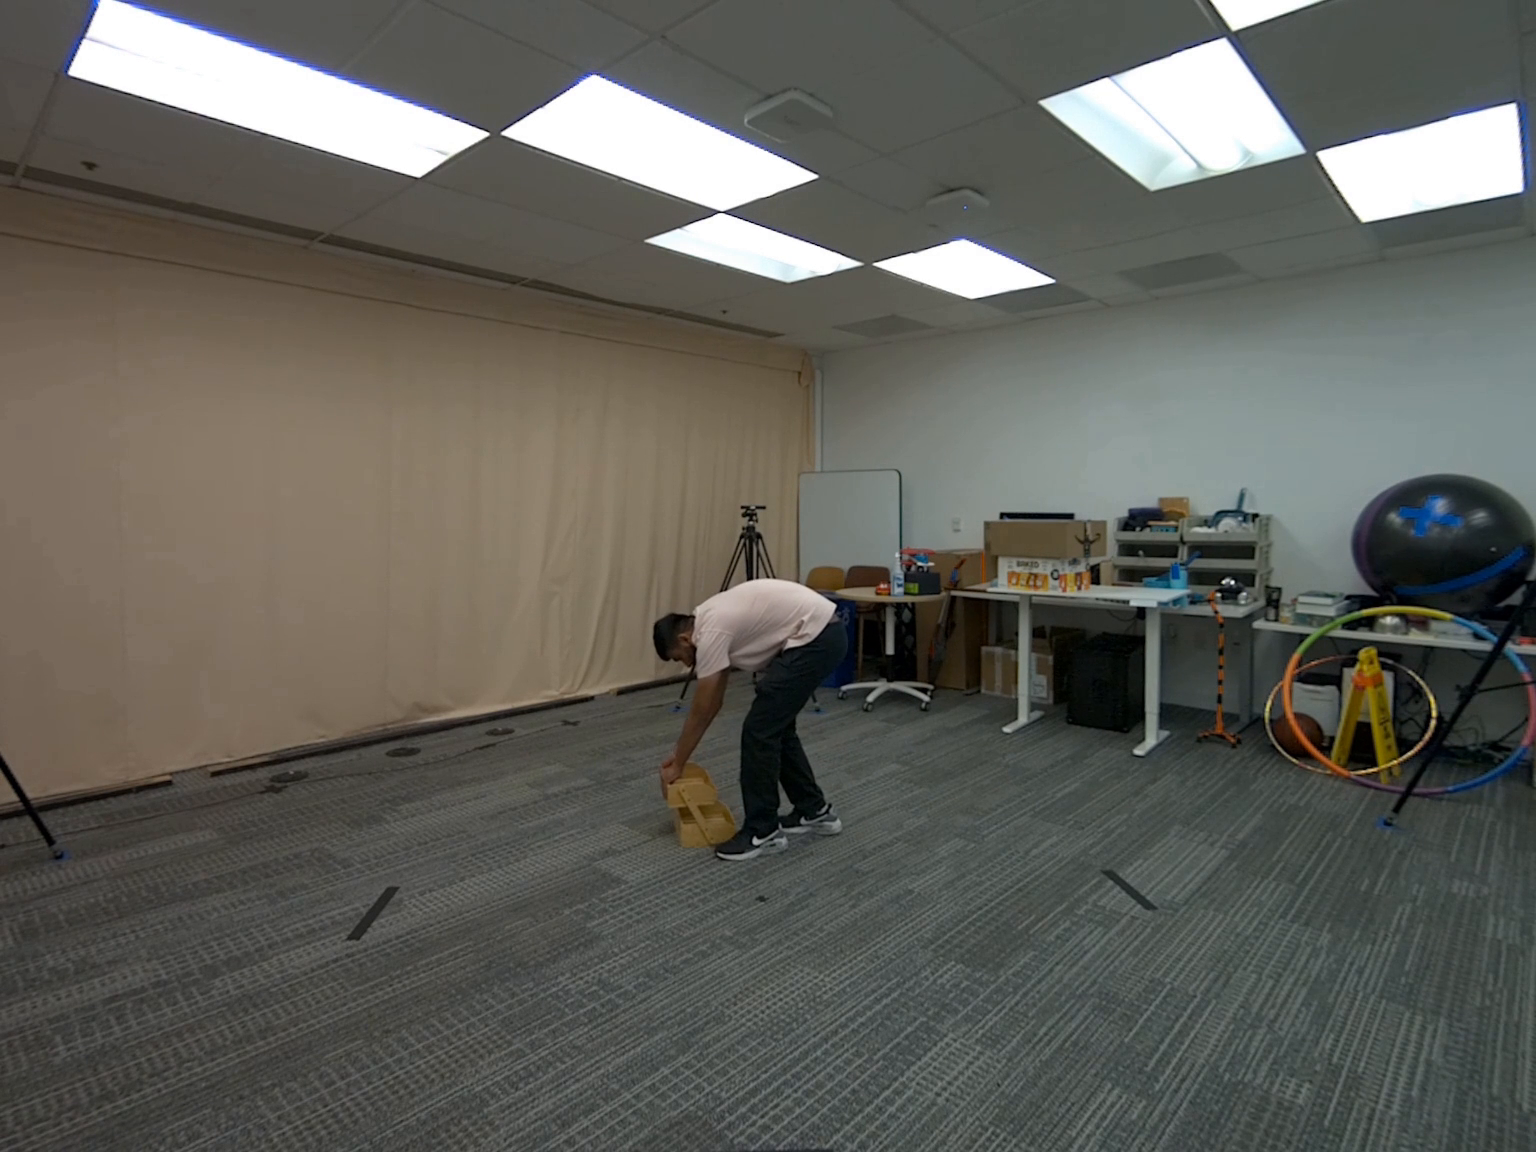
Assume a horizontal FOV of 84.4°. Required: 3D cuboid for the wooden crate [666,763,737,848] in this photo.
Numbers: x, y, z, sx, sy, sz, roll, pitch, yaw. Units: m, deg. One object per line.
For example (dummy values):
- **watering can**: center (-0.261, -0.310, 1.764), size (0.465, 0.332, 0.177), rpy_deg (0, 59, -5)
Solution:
- **wooden crate**: center (-0.290, 0.959, 3.599), size (0.298, 0.273, 0.329), rpy_deg (-2, 4, -13)
